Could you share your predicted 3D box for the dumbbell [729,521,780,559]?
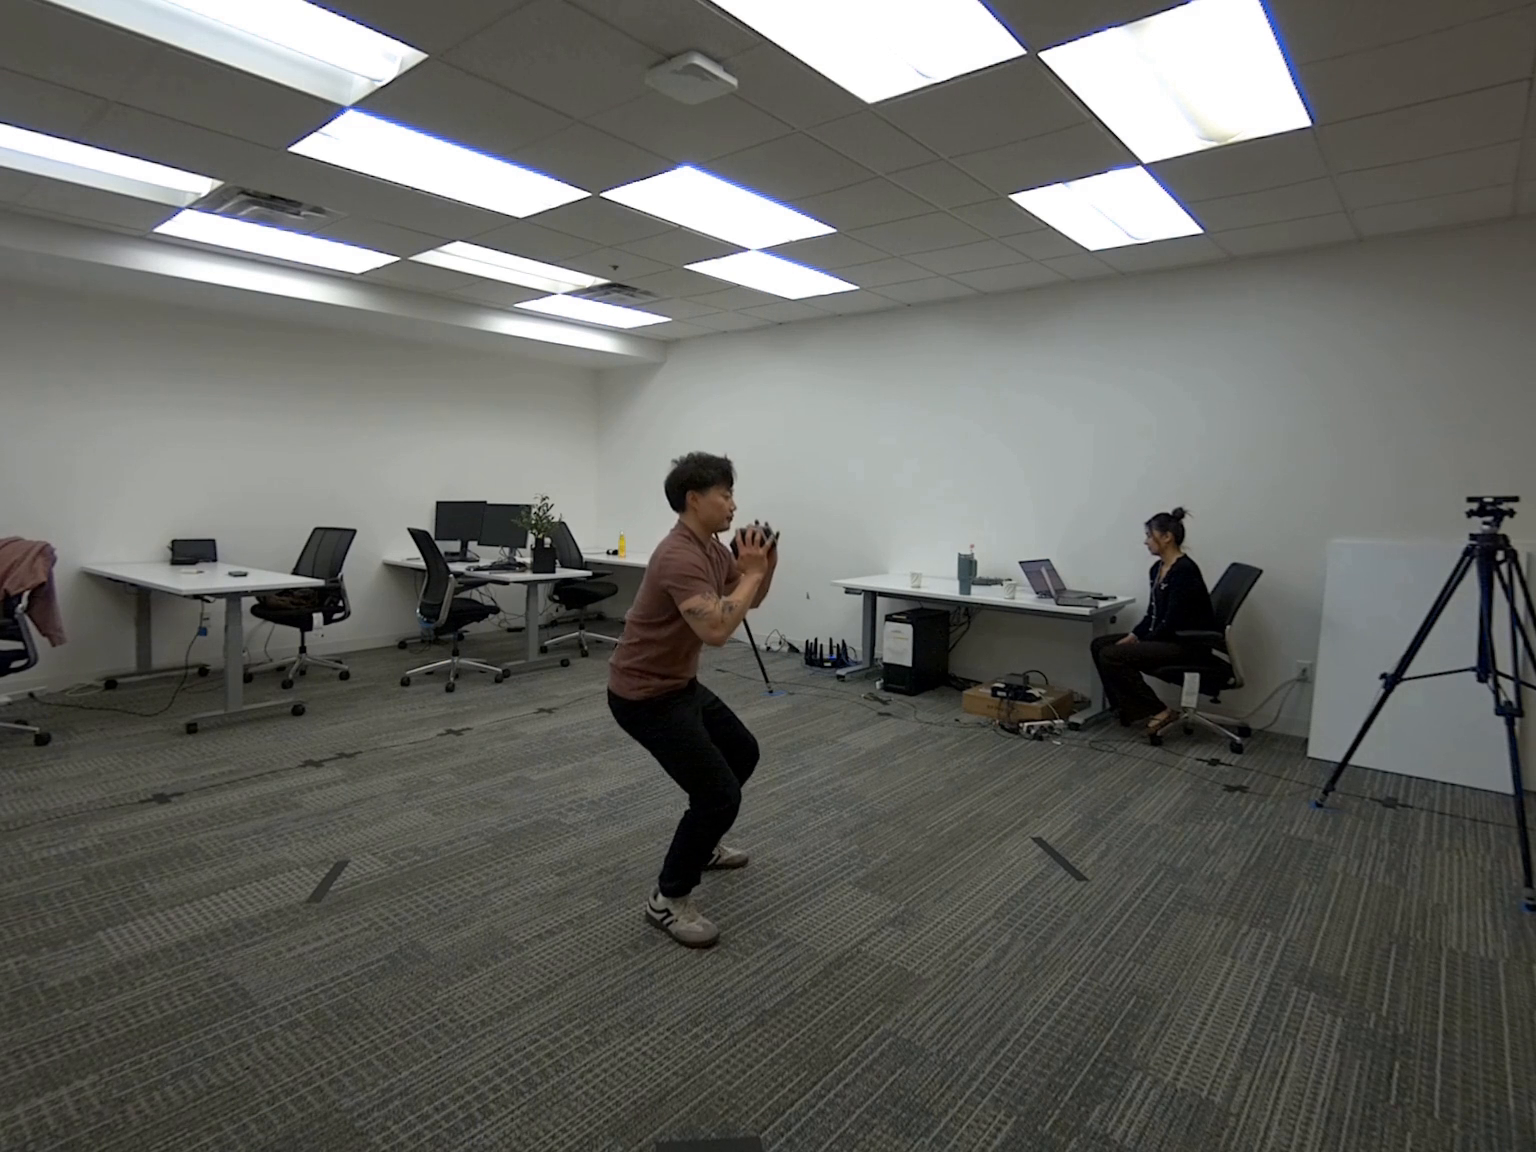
[{"bbox_3d":[-0.060,-0.091,2.774,0.110,0.123,0.290,37,5,6],"label":"dumbbell"}]
